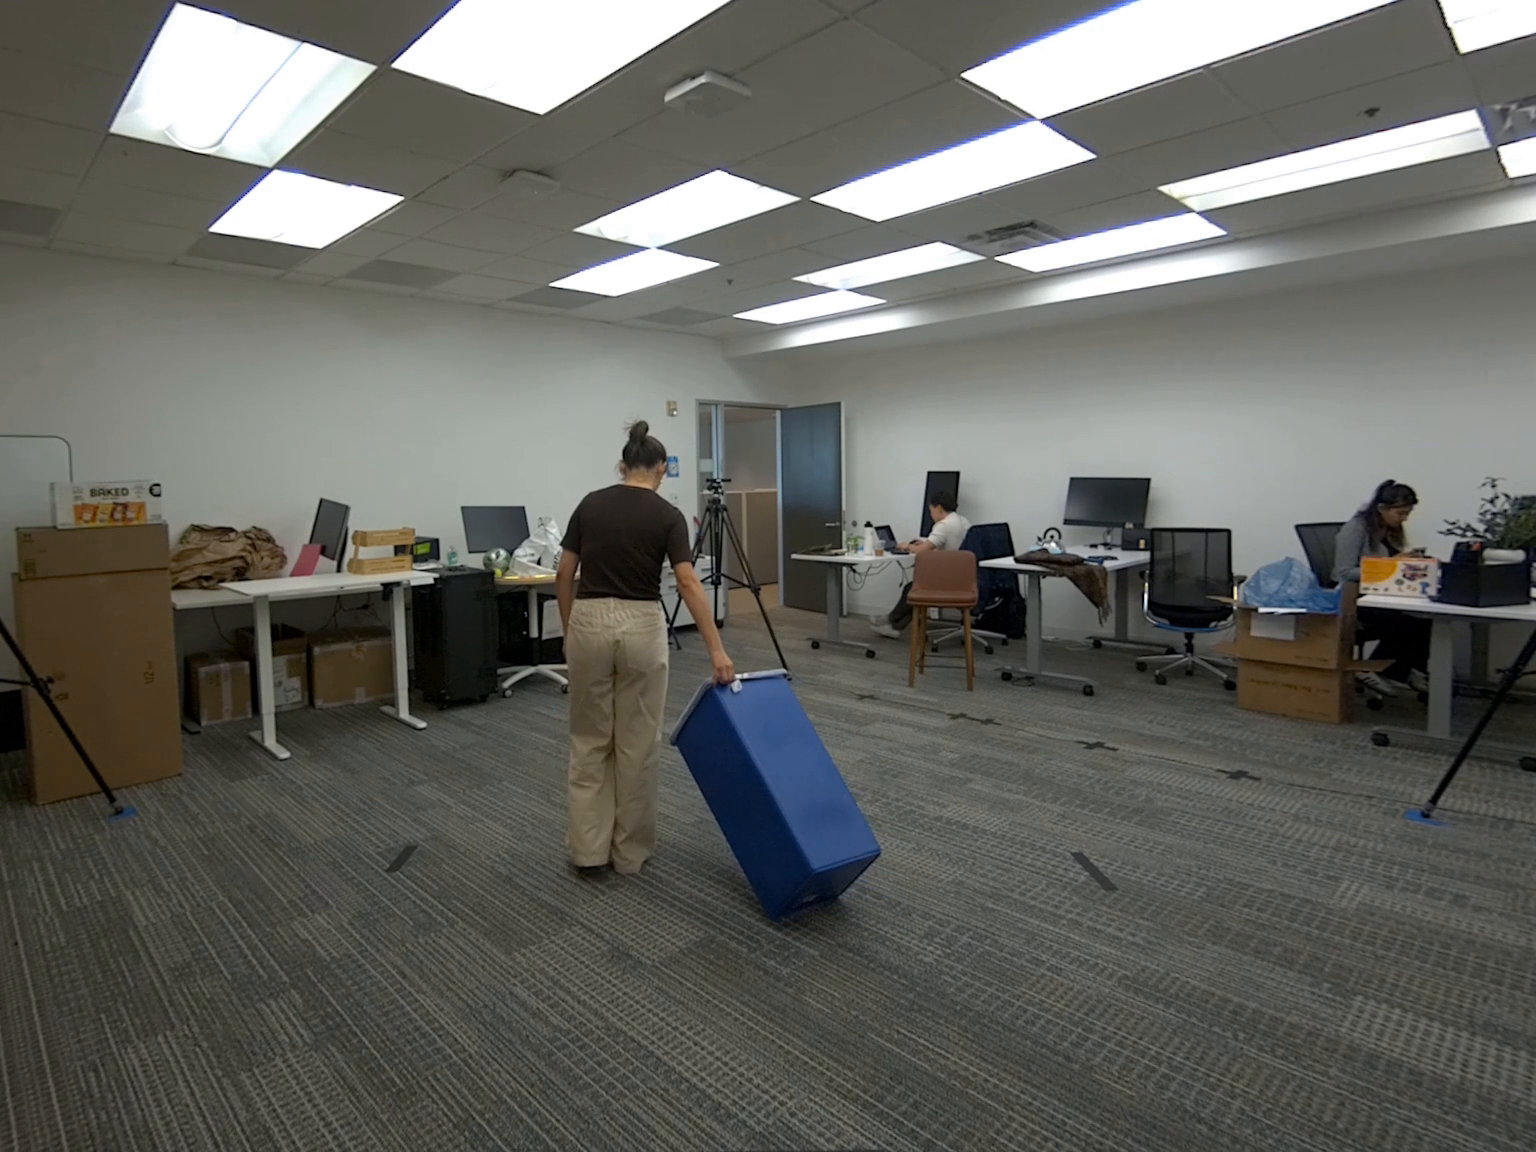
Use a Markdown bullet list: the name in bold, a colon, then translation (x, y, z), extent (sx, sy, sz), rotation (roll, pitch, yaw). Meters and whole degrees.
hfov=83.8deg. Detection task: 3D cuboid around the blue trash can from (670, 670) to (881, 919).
- **blue trash can**: translation (0.014, 0.722, 2.884), extent (0.367, 0.371, 0.740), rotation (1, 44, -38)
